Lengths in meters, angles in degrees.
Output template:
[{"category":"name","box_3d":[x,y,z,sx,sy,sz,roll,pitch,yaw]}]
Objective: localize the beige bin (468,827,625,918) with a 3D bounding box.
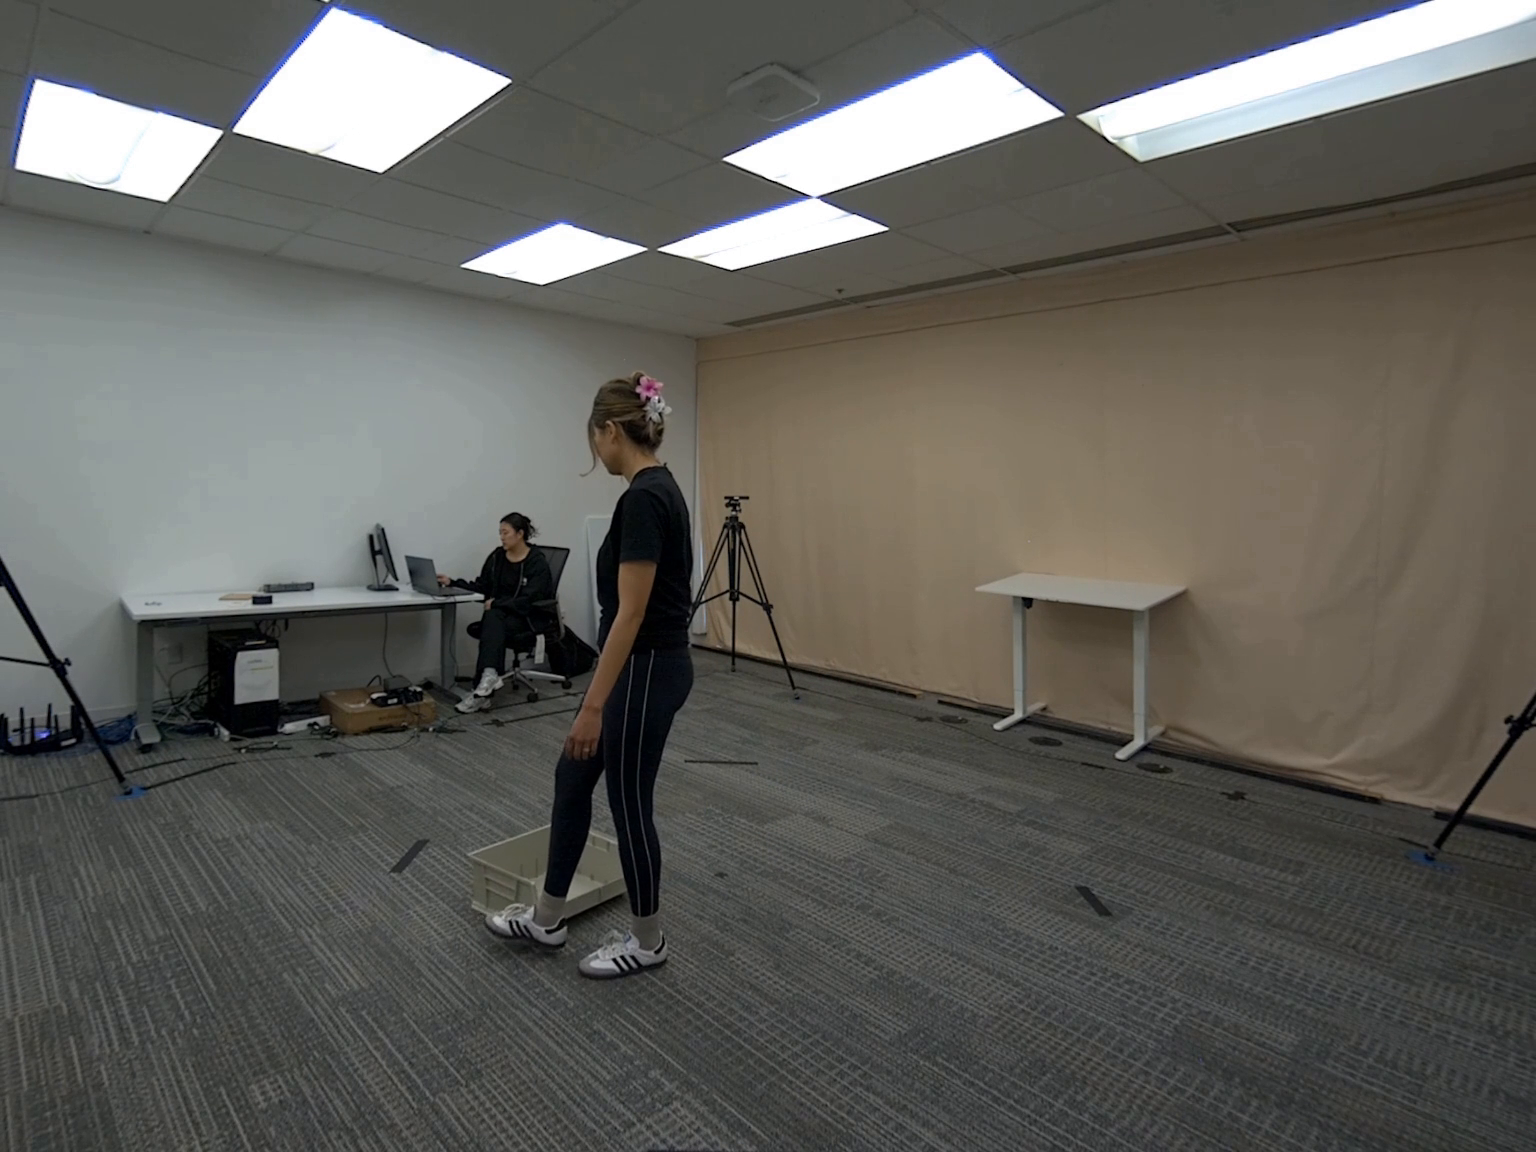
[{"category":"beige bin","box_3d":[-0.737,1.024,2.856,0.386,0.188,0.413,3,6,37]}]
